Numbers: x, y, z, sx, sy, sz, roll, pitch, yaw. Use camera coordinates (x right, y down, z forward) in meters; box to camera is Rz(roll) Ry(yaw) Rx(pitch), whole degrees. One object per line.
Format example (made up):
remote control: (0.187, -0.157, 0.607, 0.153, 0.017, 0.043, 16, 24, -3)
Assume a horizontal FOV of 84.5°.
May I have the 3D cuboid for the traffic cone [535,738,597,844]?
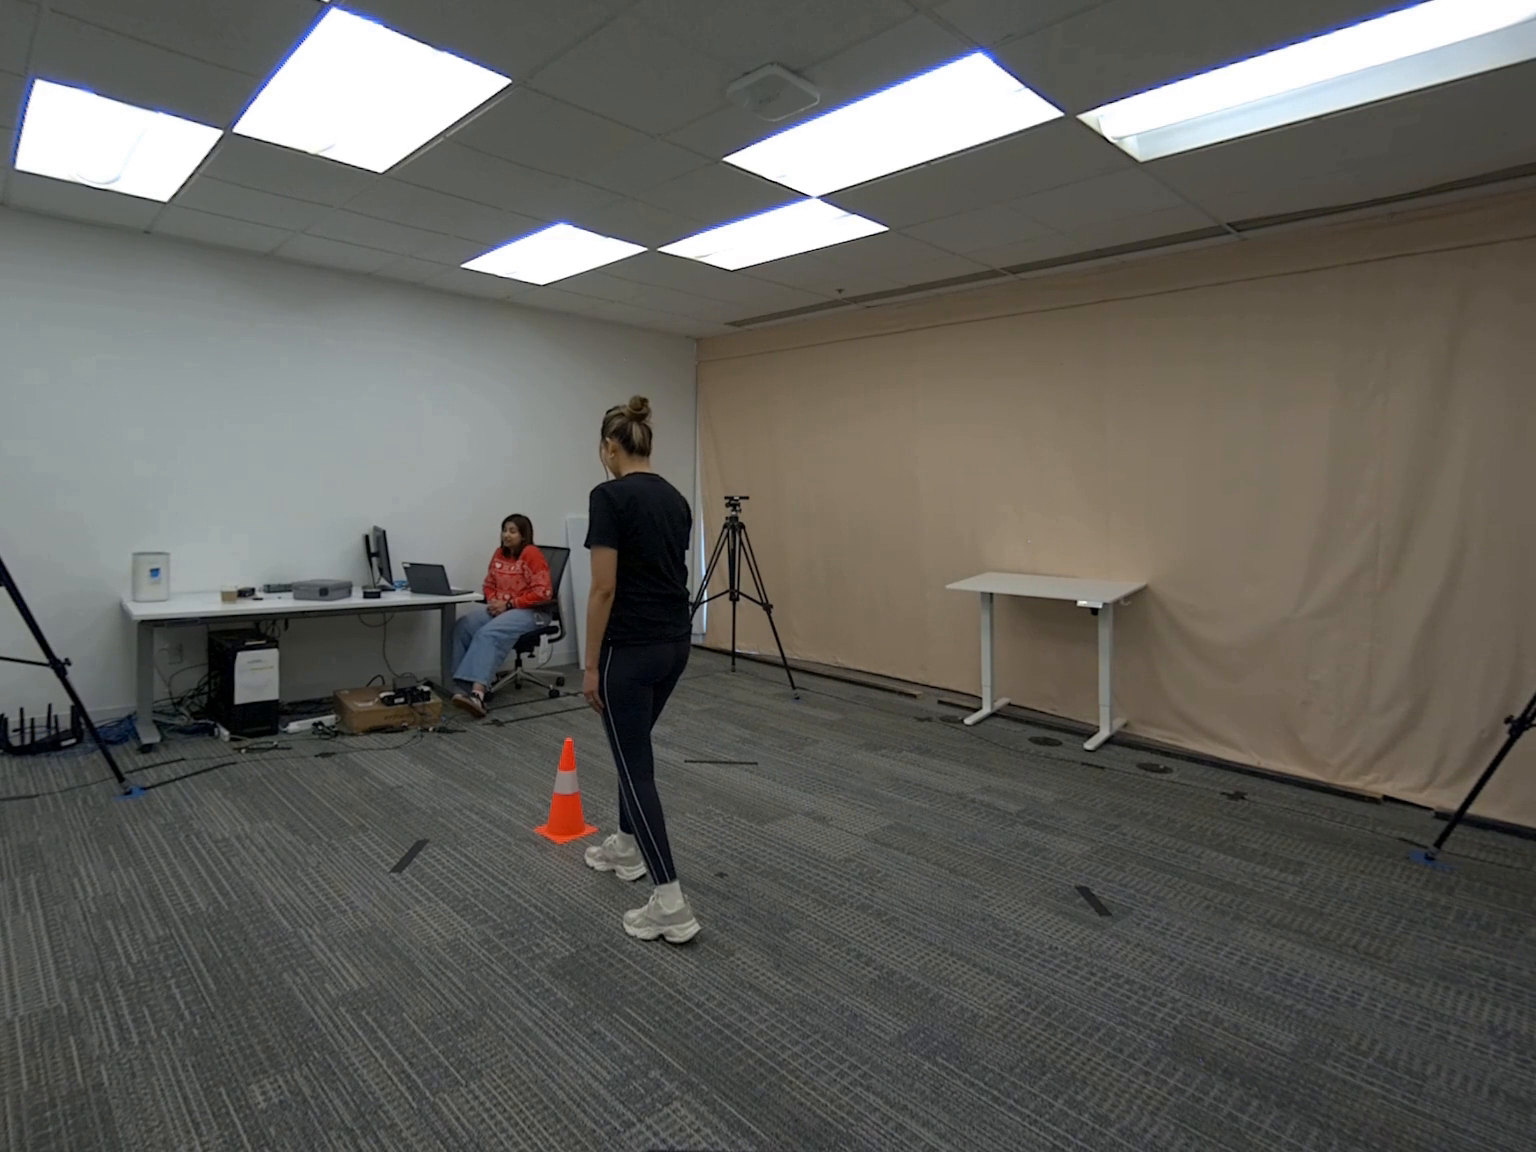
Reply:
traffic cone: (-0.842, 0.868, 3.477, 0.210, 0.382, 0.199, 6, 6, 44)
